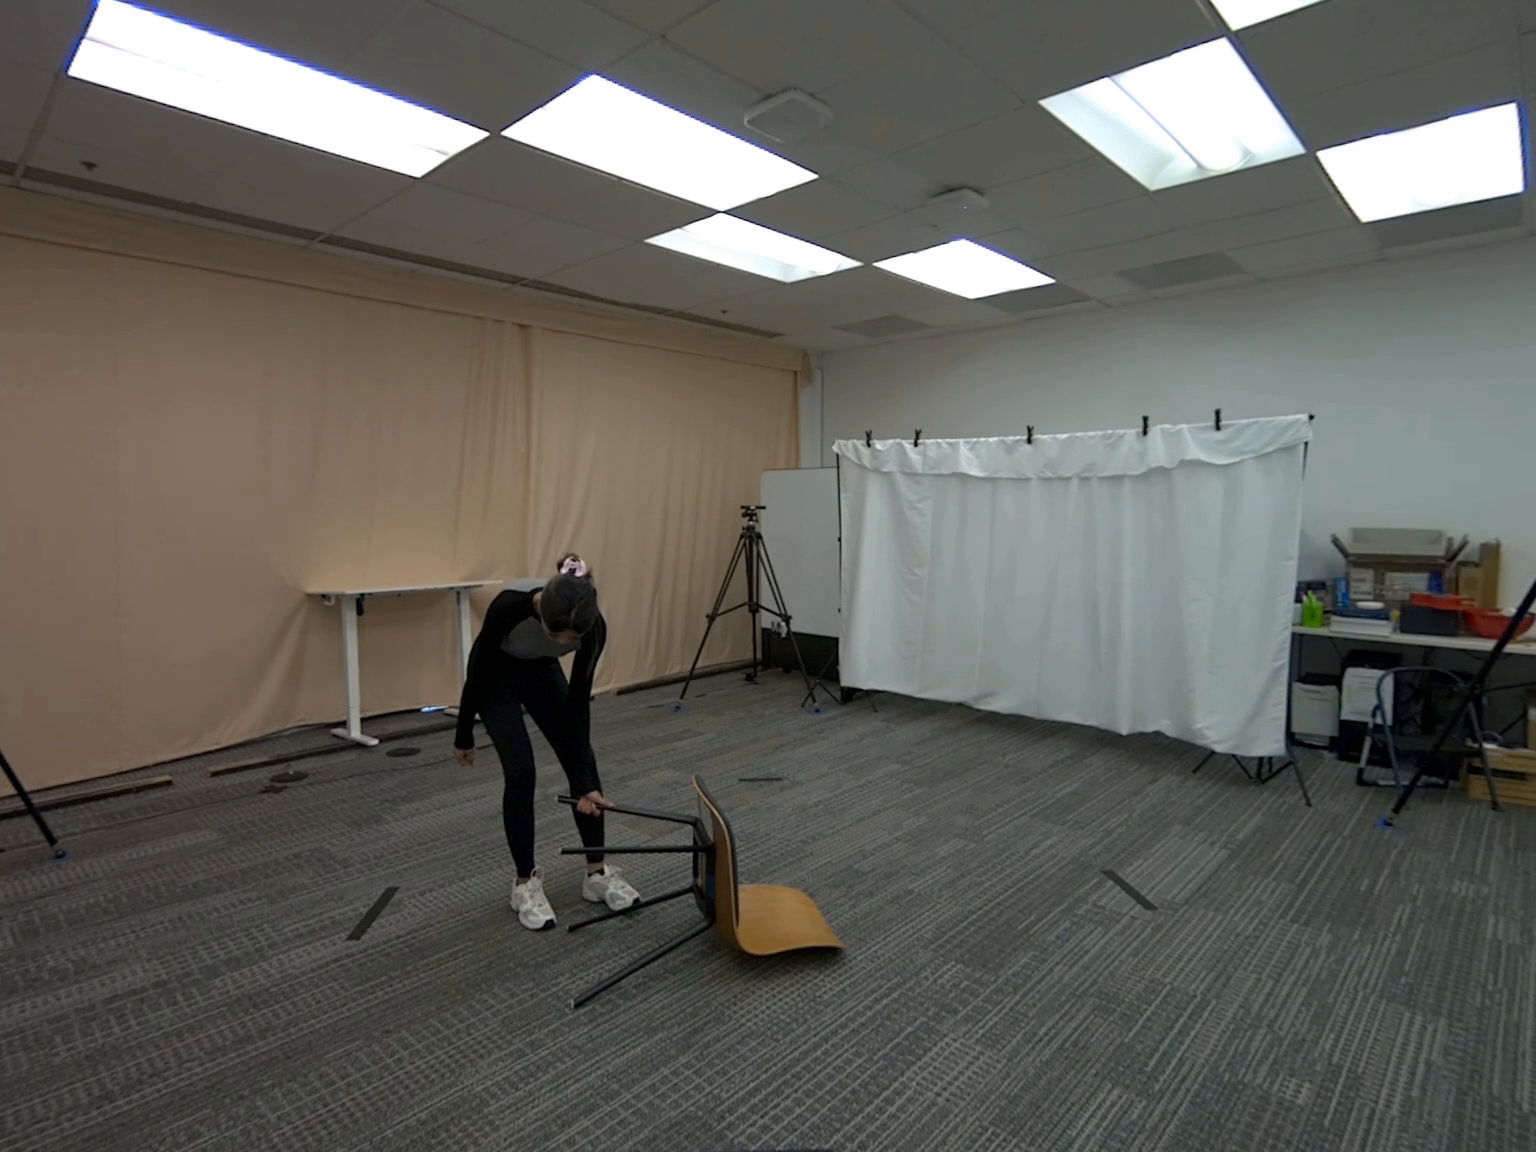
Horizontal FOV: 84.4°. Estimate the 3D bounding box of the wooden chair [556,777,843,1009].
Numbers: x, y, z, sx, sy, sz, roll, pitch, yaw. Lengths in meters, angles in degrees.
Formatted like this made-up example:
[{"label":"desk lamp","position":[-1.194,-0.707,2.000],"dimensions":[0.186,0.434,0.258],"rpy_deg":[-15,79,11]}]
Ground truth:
[{"label":"wooden chair","position":[-0.198,0.915,2.621],"dimensions":[0.866,0.522,0.485],"rpy_deg":[0,4,-12]}]
